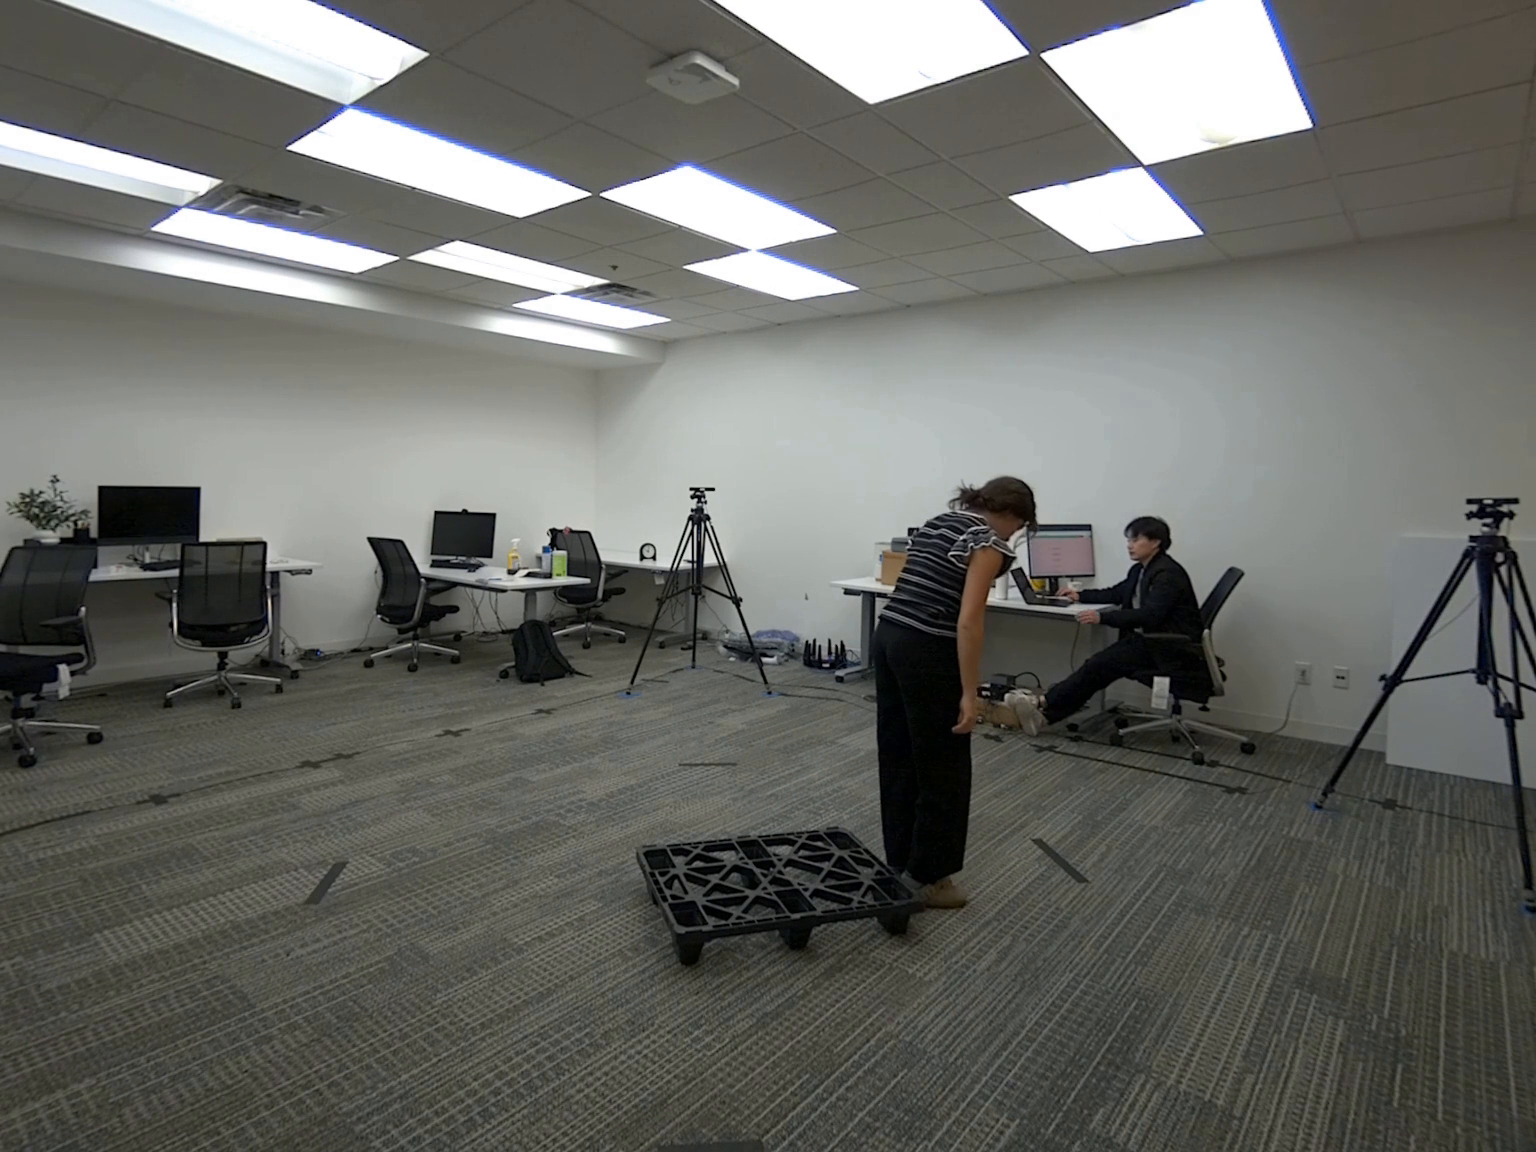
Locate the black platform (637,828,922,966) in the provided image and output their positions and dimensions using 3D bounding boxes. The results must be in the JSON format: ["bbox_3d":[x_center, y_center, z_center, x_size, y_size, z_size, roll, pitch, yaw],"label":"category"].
[{"bbox_3d":[0.009,1.033,2.793,0.791,0.142,0.619,-1,7,-18],"label":"black platform"}]
